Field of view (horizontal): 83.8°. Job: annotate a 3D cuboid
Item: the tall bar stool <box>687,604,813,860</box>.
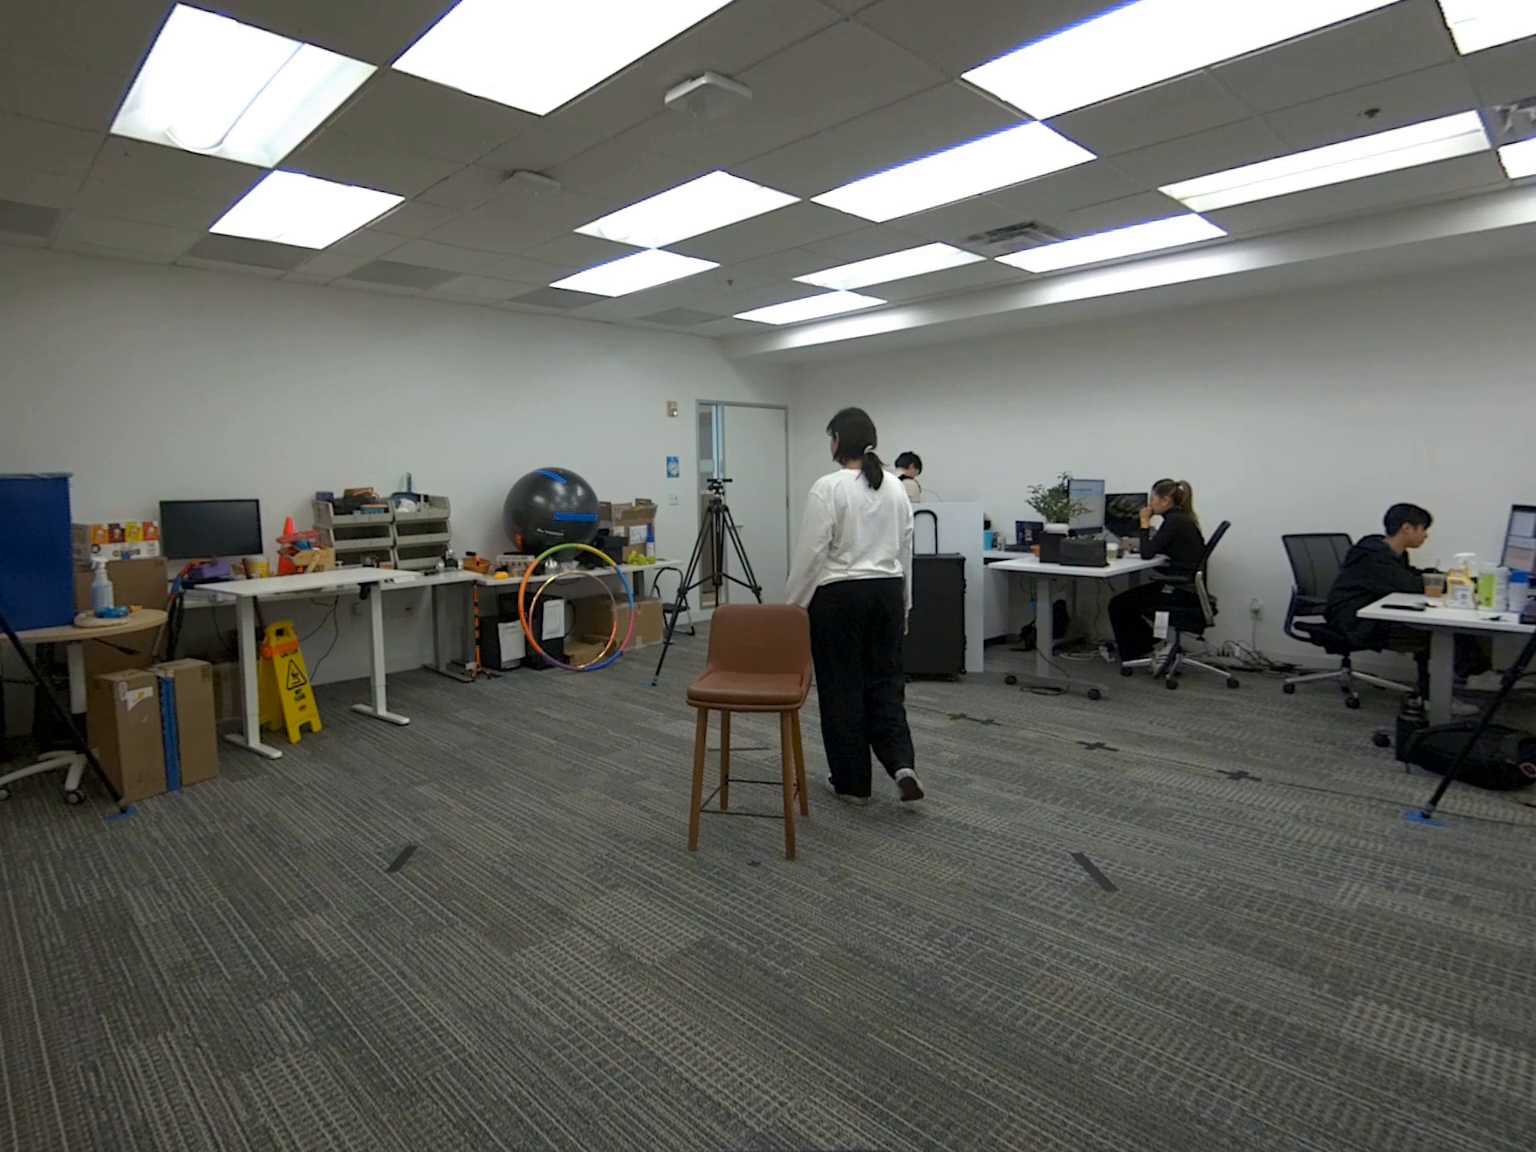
[{"bbox_3d":[-0.064,0.581,3.369,0.463,0.888,0.462,0,2,14],"label":"tall bar stool"}]
